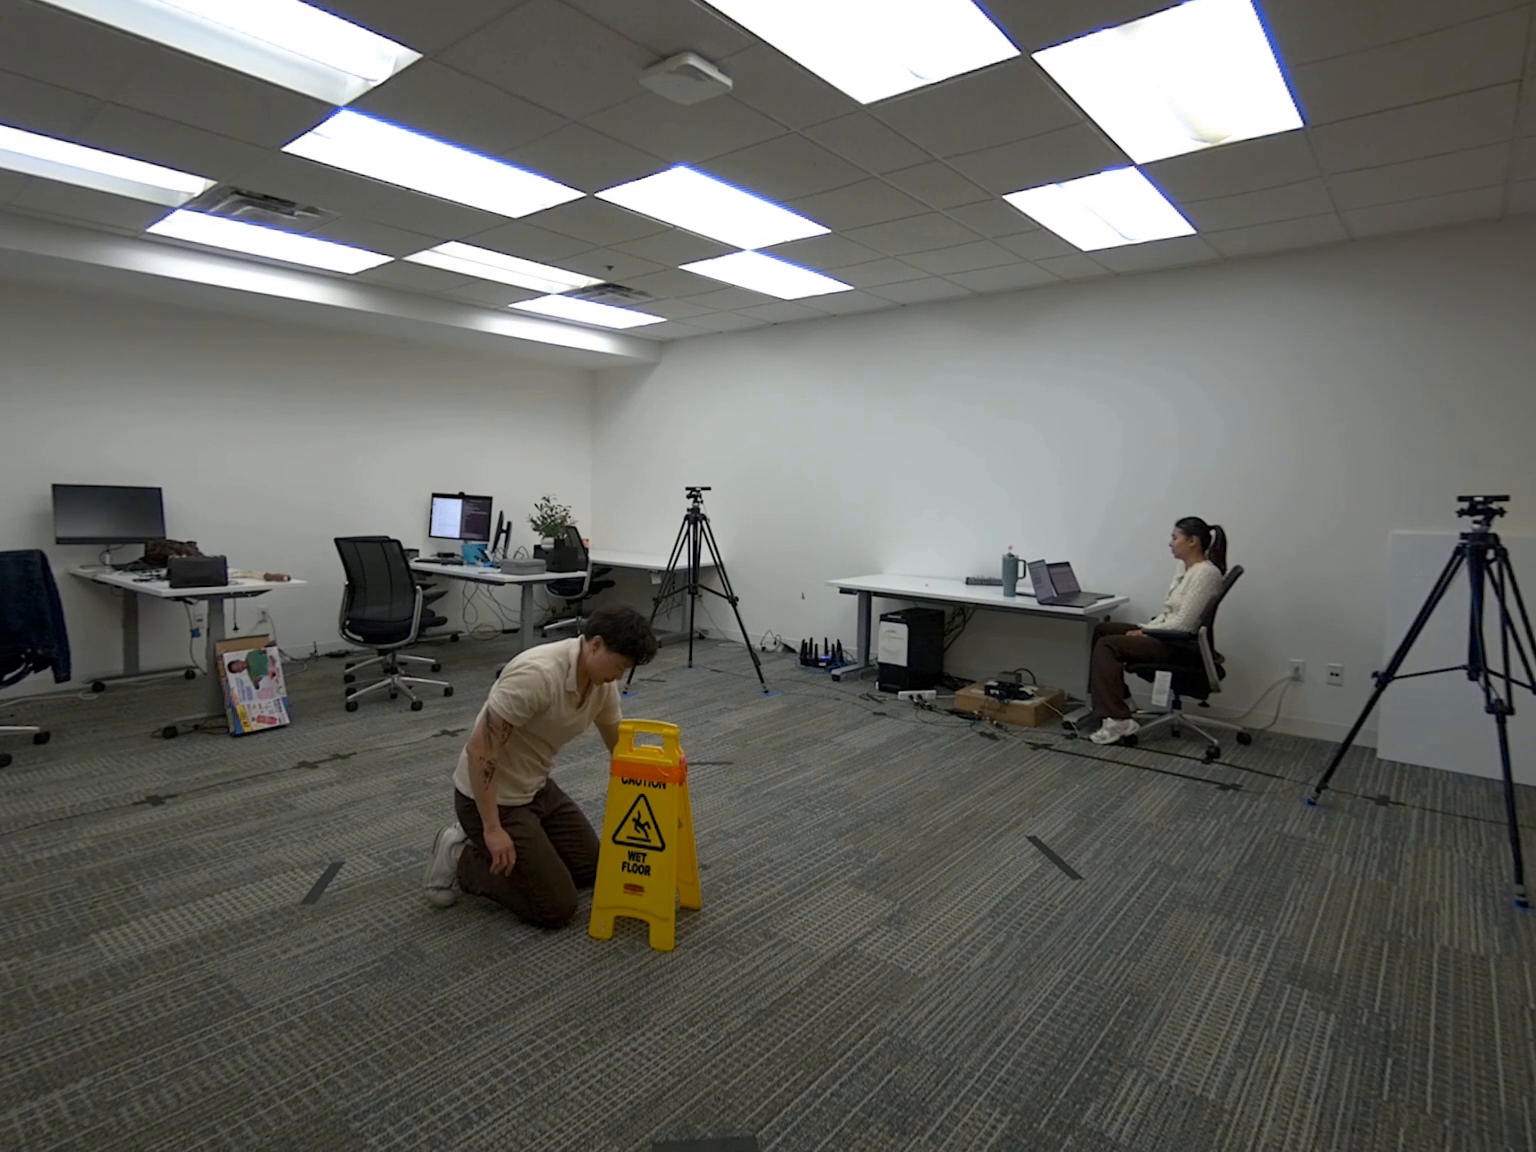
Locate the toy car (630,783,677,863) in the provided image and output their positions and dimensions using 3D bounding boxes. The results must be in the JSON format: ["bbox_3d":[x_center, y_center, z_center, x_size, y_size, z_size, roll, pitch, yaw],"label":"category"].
[{"bbox_3d":[-0.384,0.830,2.825,0.132,0.248,0.084,8,31,9],"label":"toy car"}]
